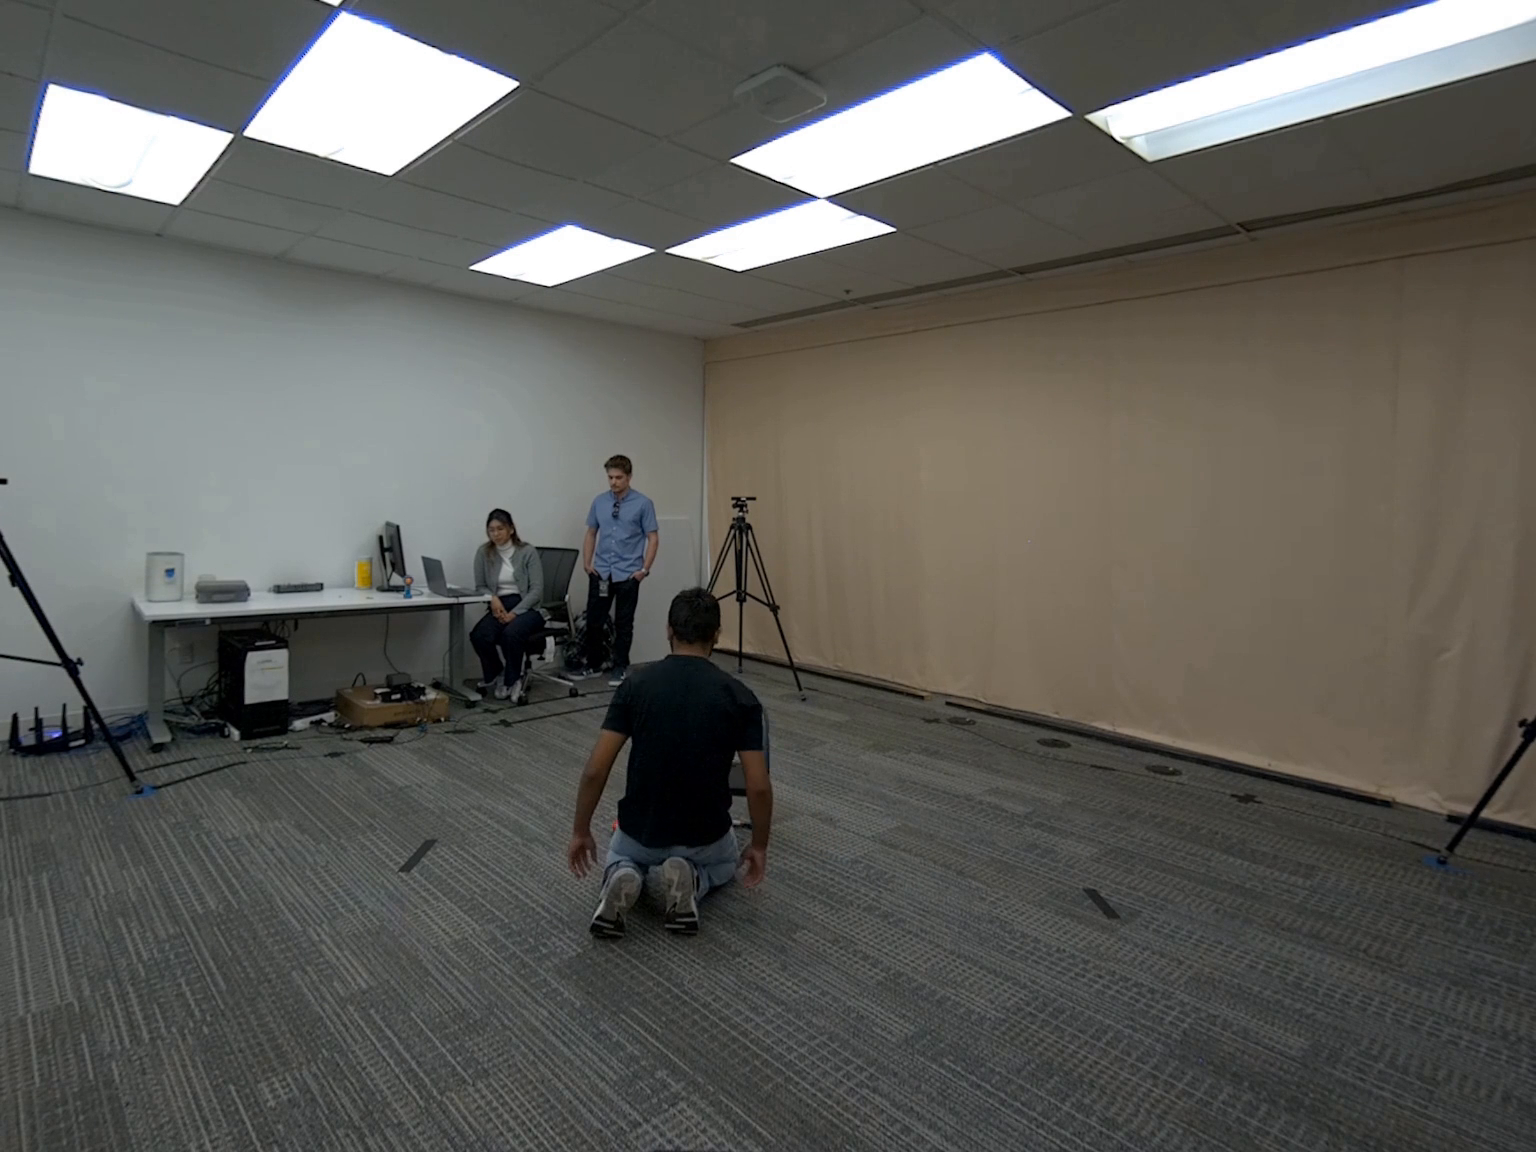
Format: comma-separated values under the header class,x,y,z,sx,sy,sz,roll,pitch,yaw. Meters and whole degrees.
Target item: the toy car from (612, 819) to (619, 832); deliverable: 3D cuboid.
class,x,y,z,sx,sy,sz,roll,pitch,yaw
toy car,-0.520,1.051,3.468,0.256,0.083,0.130,-12,4,12
